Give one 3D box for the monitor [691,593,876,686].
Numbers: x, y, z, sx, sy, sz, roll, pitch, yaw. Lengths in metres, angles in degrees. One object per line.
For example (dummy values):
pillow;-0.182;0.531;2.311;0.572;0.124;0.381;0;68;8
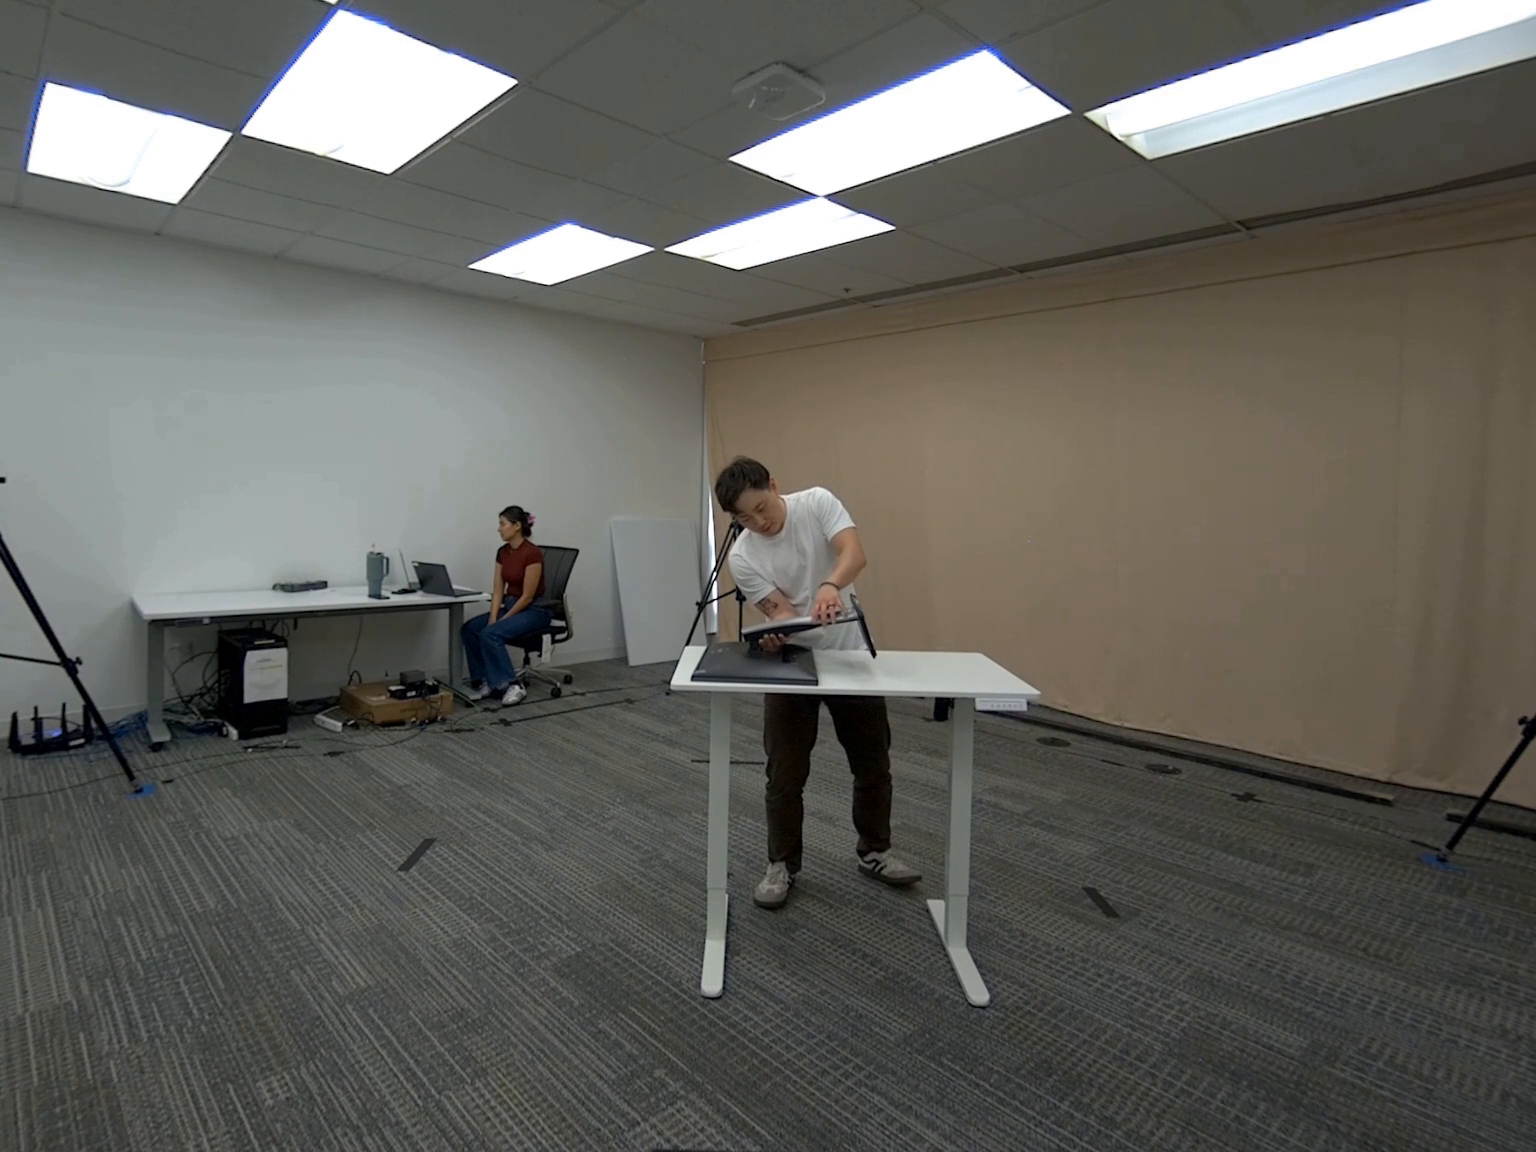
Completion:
monitor;0.037;0.215;2.557;0.524;0.187;0.539;-15;4;3
